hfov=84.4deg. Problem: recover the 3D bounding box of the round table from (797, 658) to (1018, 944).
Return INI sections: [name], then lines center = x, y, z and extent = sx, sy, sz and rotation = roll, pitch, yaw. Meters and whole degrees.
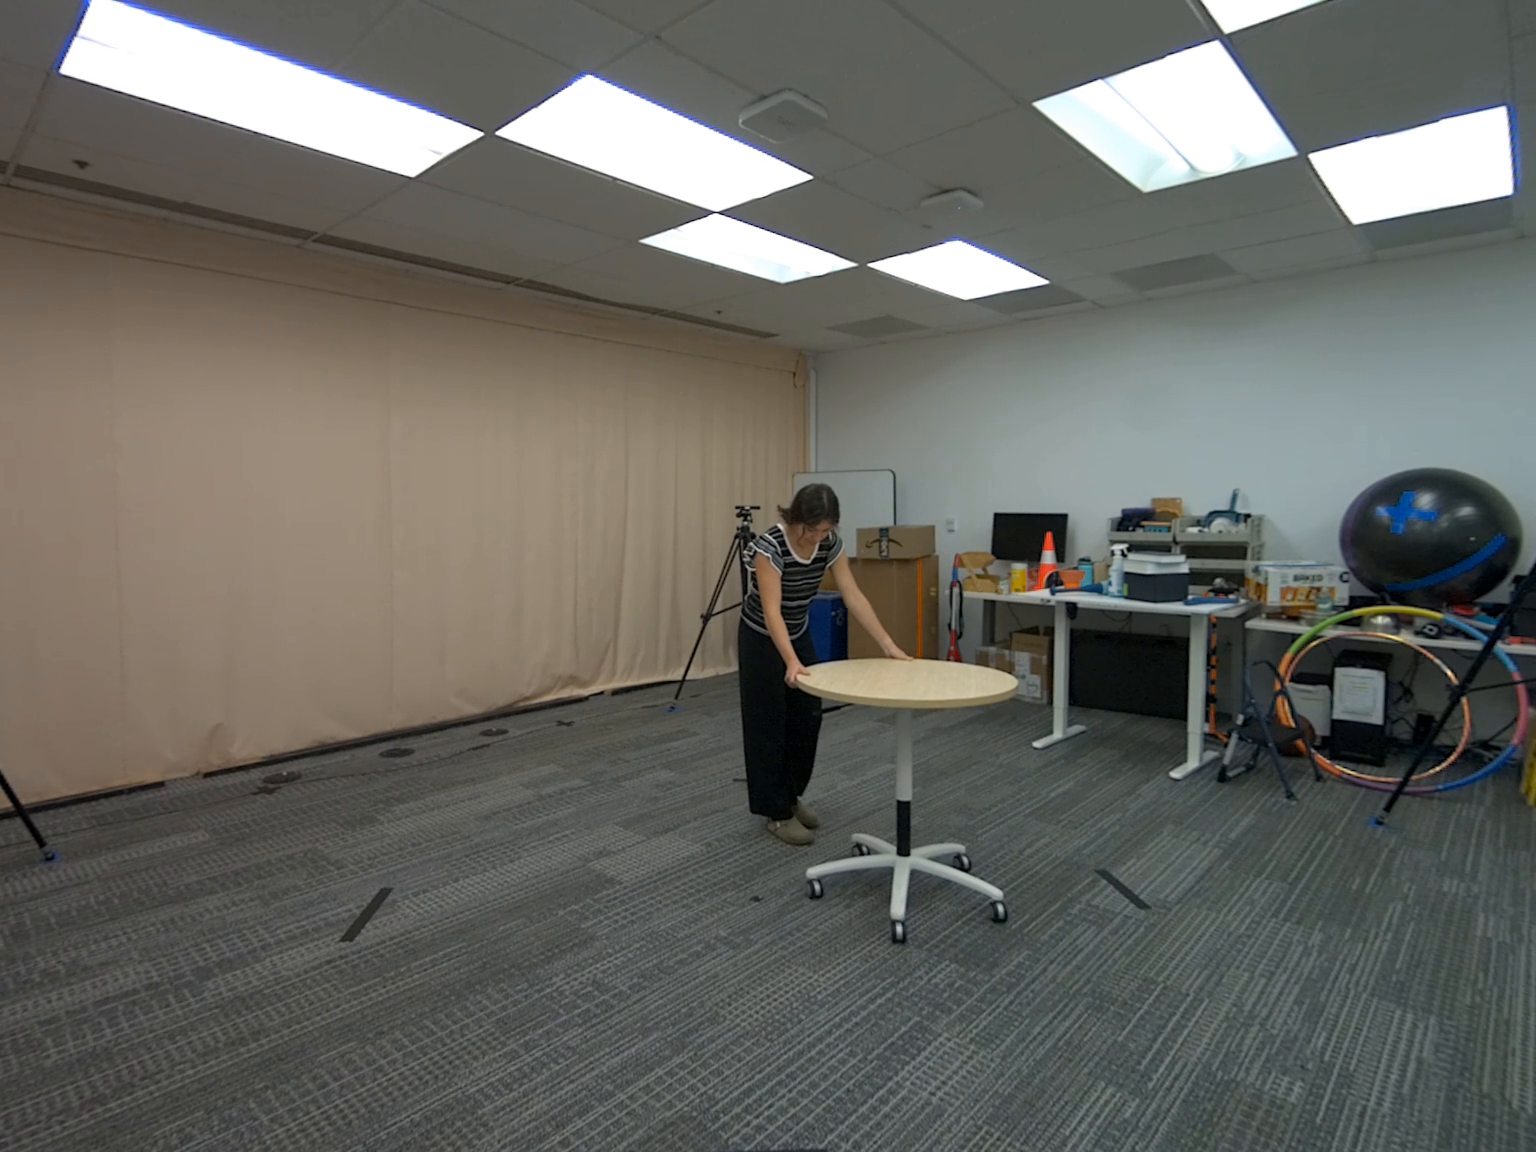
[round table]
center = 0.492, 0.754, 3.000
extent = 0.763, 0.792, 0.766
rotation = 0, 3, -2
